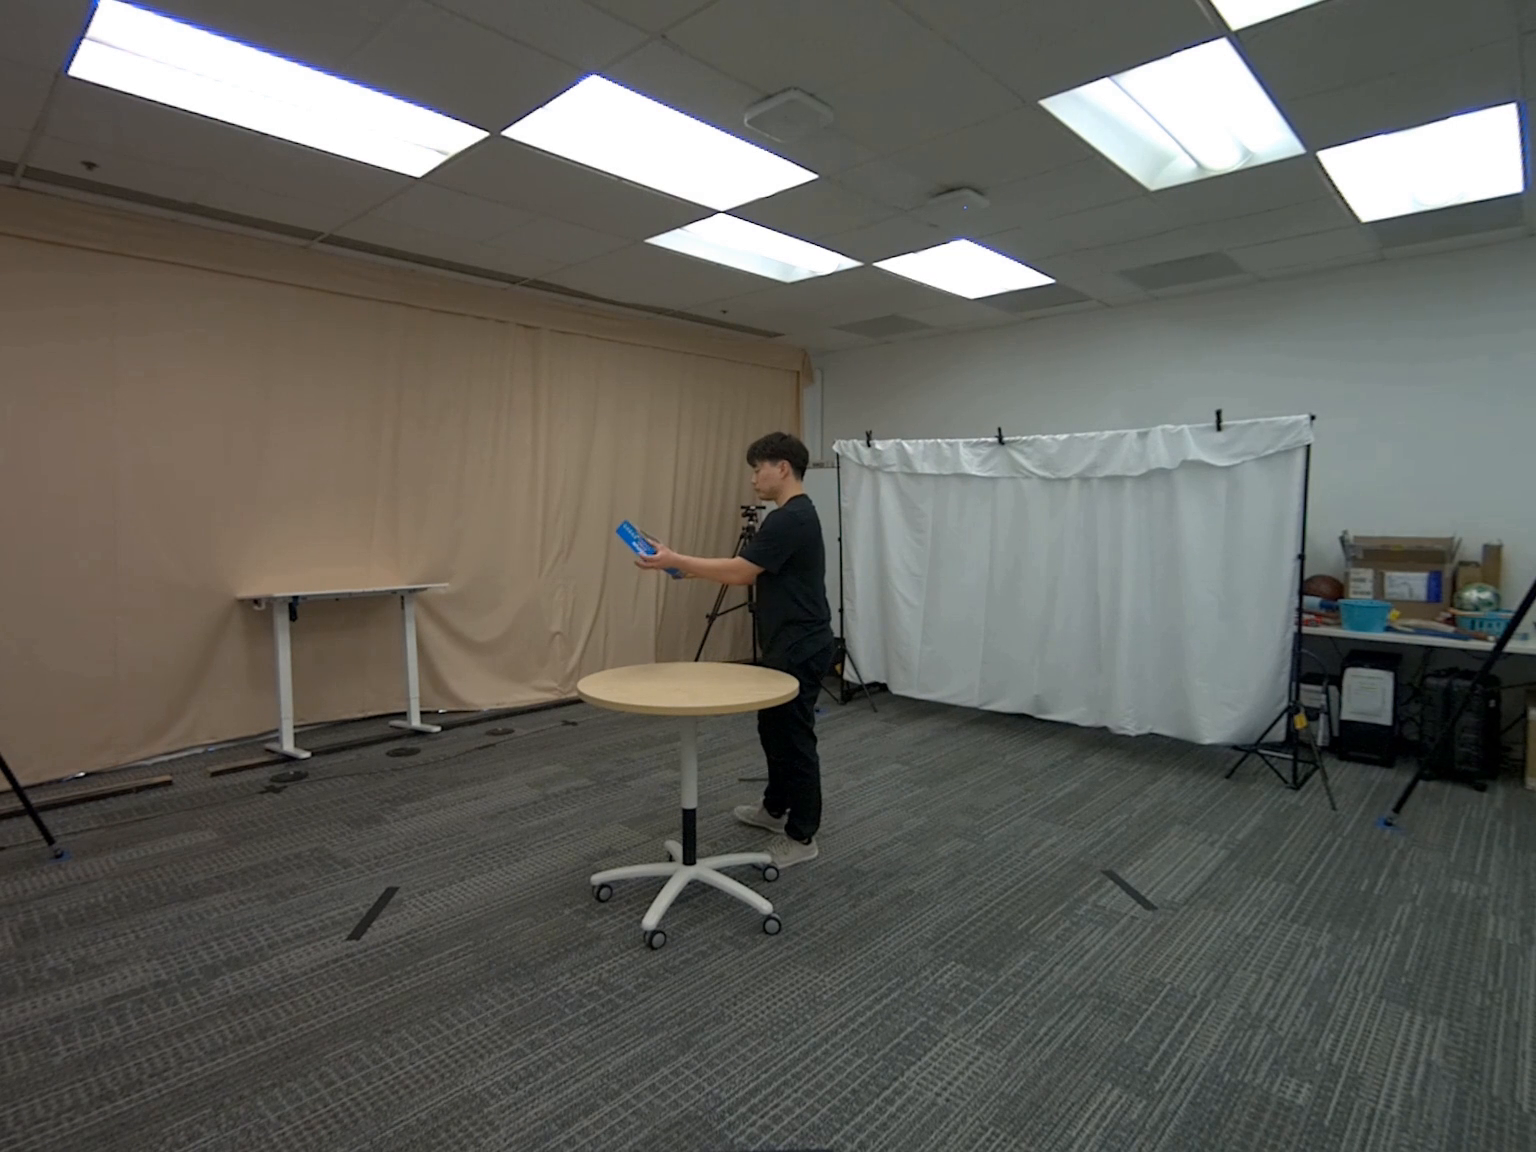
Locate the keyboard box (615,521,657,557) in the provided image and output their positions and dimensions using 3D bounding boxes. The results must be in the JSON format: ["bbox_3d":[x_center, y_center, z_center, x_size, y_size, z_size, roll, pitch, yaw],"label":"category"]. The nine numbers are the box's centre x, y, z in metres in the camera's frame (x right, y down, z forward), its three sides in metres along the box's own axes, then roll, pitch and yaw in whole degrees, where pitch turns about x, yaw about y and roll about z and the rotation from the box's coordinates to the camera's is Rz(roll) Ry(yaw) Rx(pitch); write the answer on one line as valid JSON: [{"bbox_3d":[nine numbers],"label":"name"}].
[{"bbox_3d":[-0.443,-0.092,3.285,0.179,0.059,0.428,45,2,15],"label":"keyboard box"}]
